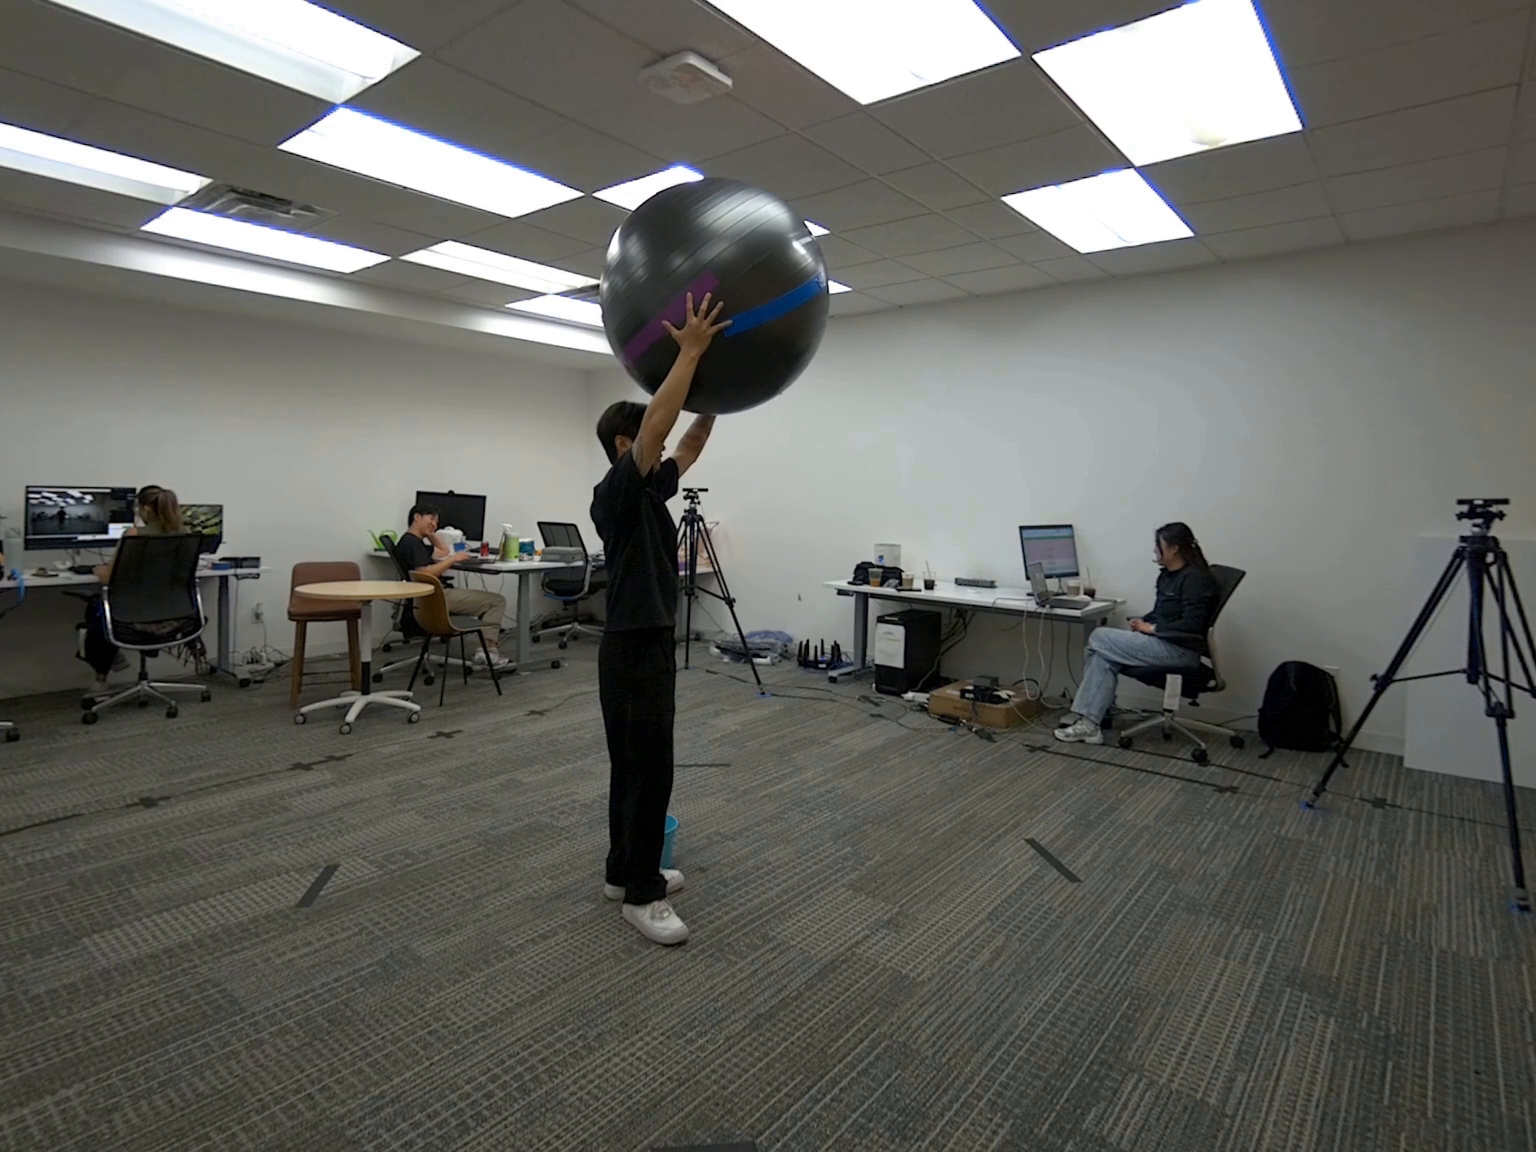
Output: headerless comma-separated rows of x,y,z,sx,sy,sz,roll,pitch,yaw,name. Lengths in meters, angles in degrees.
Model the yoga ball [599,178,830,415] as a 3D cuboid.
-0.185,-0.920,2.825,0.757,0.755,0.762,1,4,-2,yoga ball
